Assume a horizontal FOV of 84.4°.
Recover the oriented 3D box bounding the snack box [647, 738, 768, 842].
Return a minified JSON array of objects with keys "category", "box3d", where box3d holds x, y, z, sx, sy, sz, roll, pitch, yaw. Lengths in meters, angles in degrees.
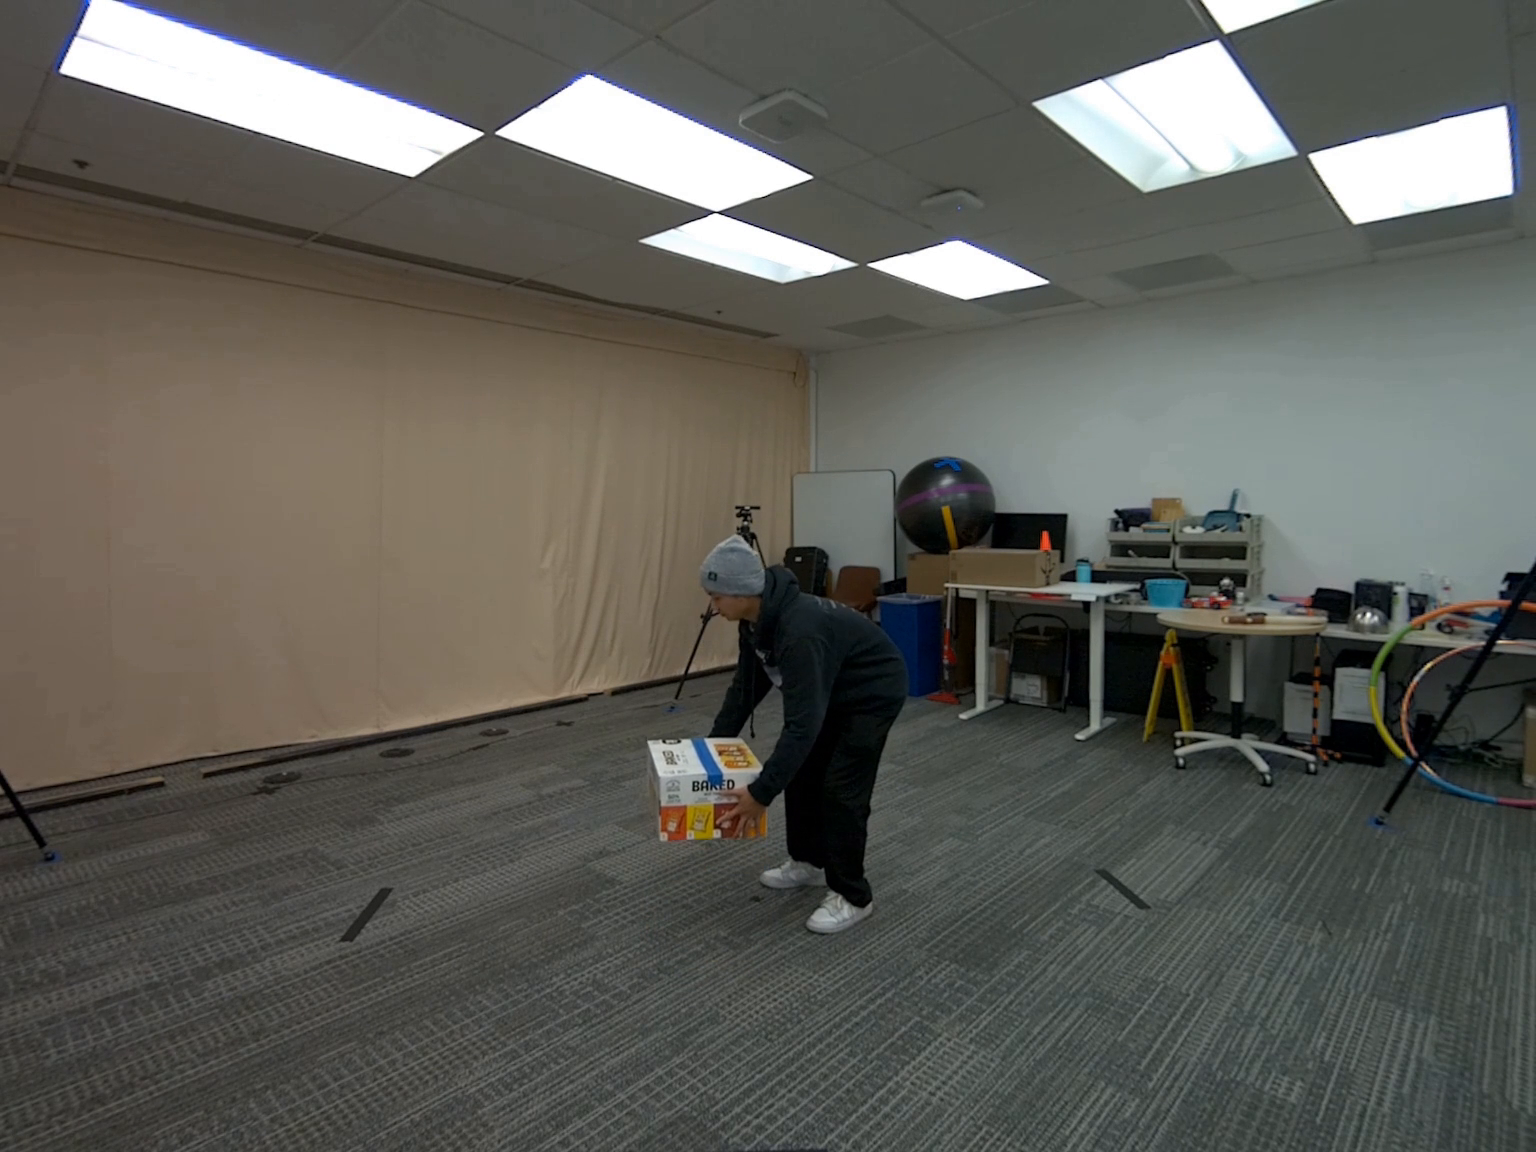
[{"category":"snack box","box3d":[-0.212,0.701,2.805,0.336,0.205,0.411,0,5,-12]}]
